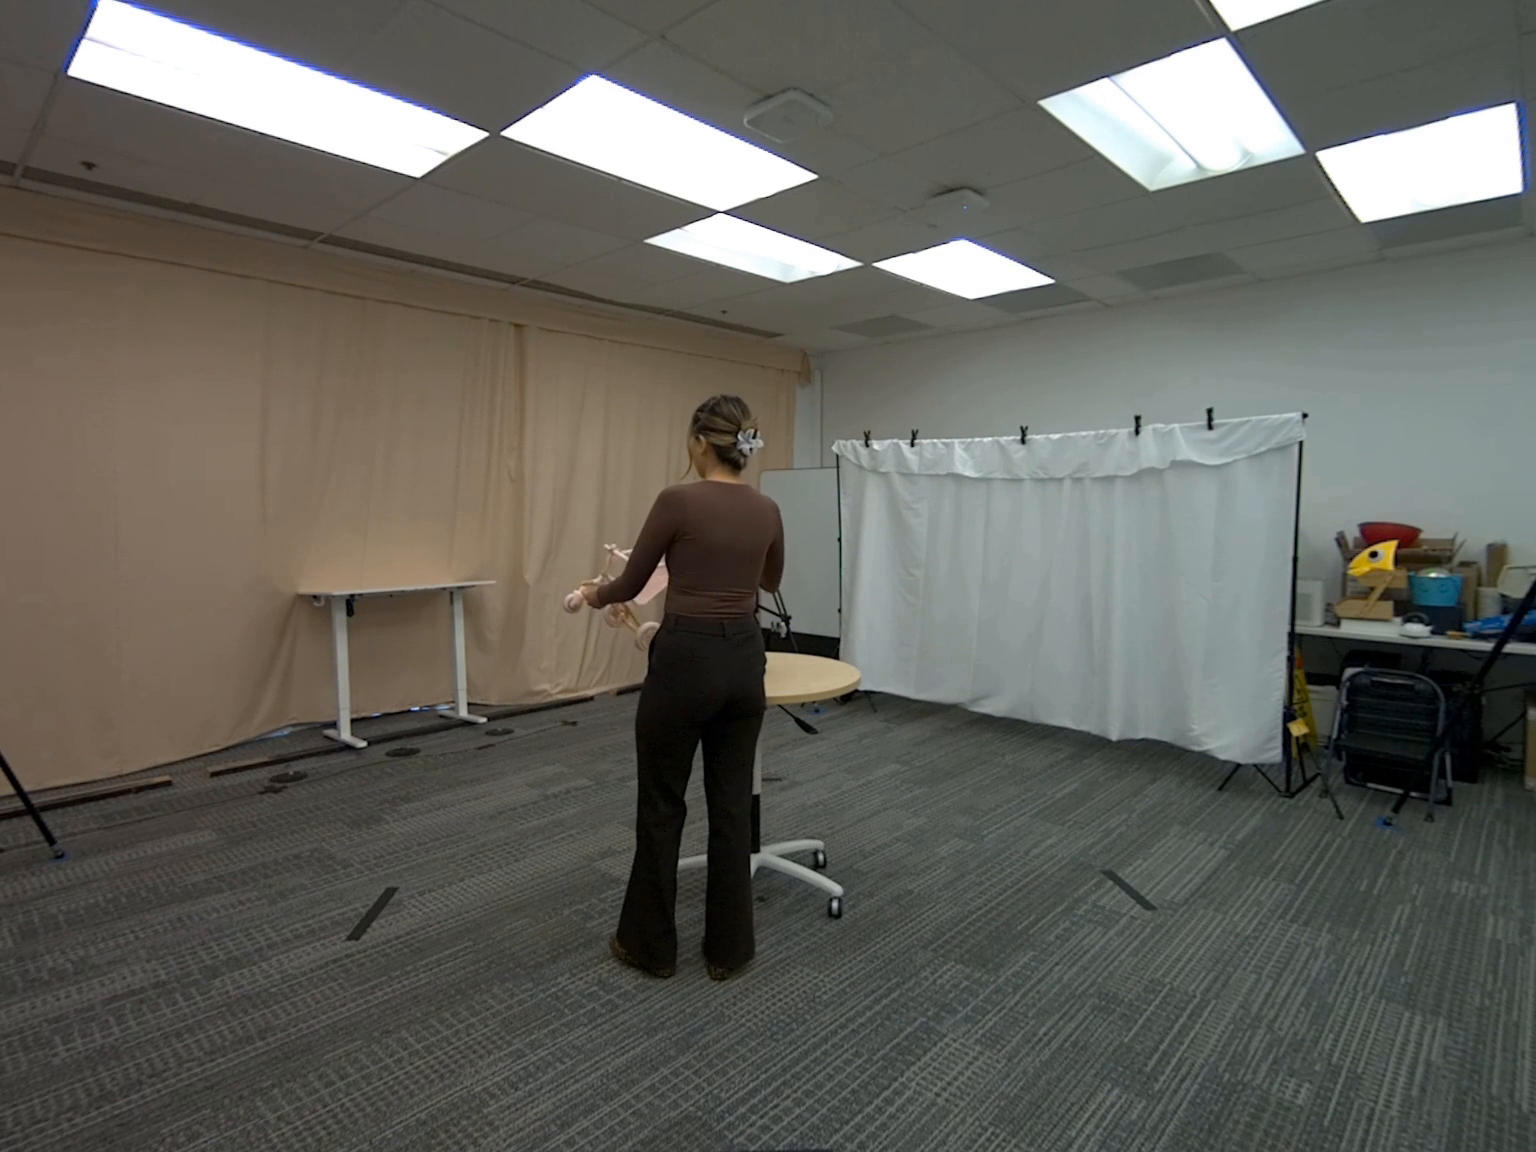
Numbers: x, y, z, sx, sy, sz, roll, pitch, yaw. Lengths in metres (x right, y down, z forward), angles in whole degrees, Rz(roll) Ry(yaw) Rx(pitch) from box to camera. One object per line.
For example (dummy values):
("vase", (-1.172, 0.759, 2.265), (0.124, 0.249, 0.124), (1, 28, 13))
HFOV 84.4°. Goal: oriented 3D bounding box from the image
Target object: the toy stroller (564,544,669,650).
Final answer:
("toy stroller", (-0.437, -0.009, 2.958), (0.330, 0.534, 0.291), (43, -9, -32))
